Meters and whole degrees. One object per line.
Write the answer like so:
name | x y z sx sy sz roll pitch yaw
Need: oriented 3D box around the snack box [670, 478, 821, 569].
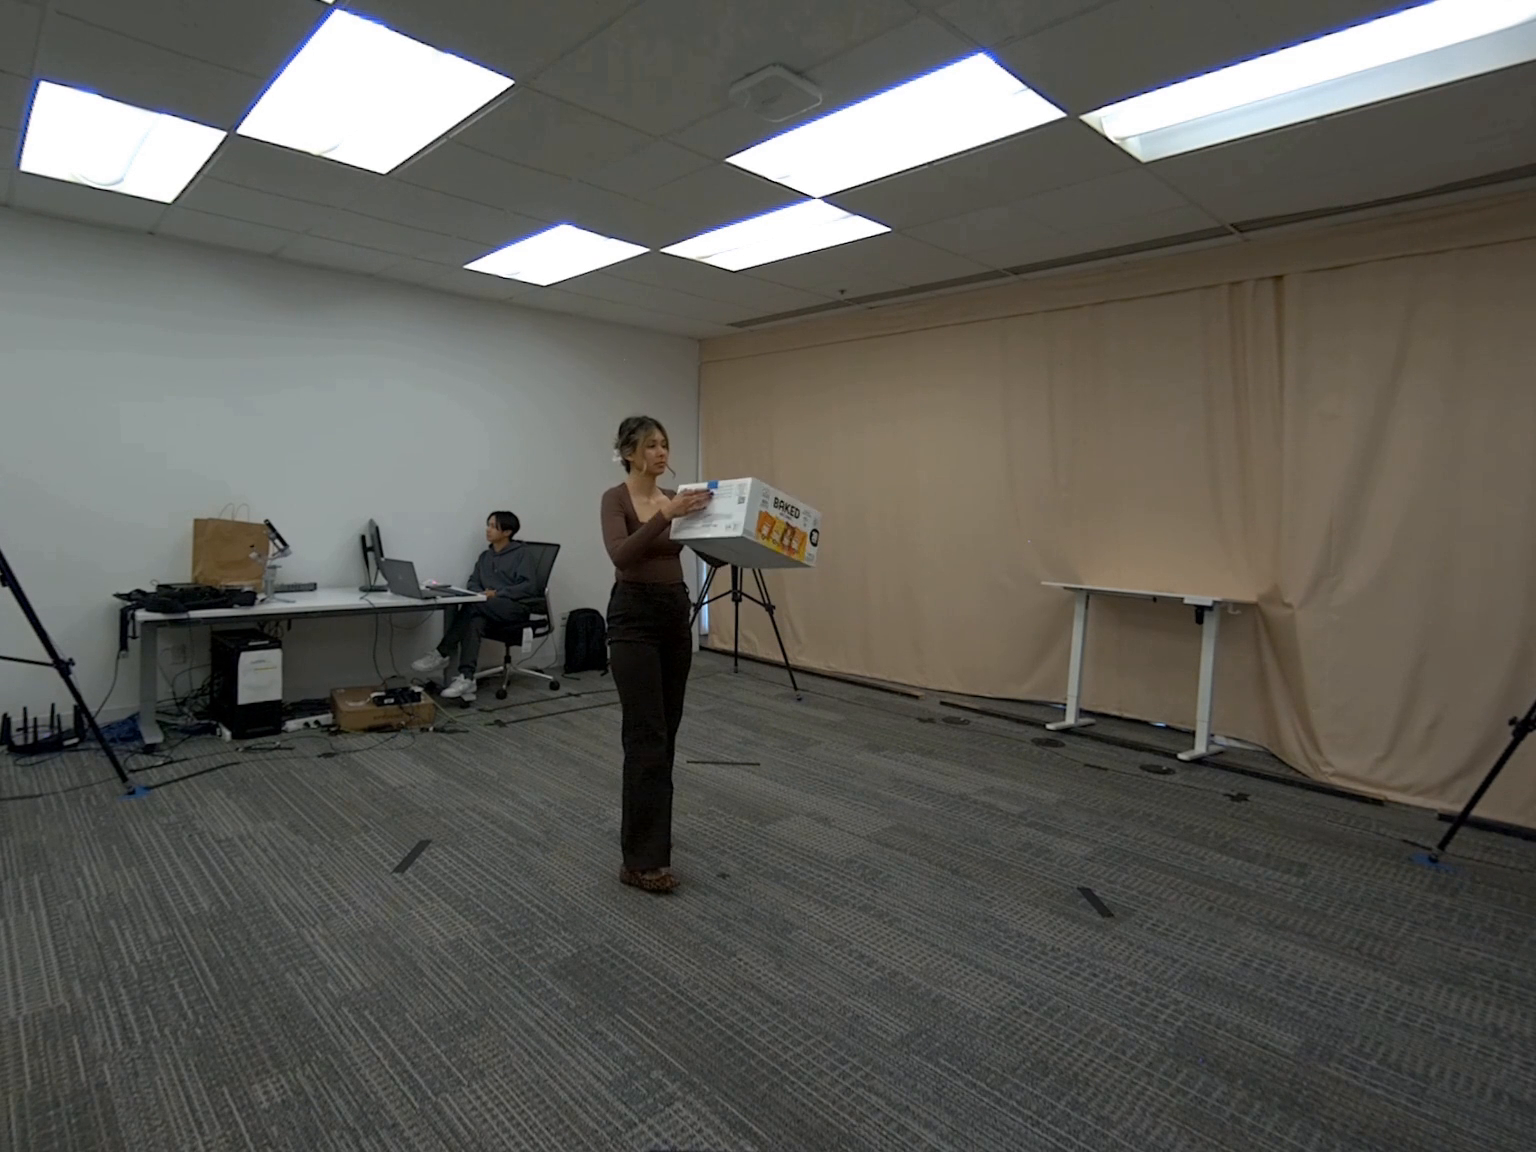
snack box | -0.080 -0.172 2.959 0.348 0.207 0.393 -1 -16 41
